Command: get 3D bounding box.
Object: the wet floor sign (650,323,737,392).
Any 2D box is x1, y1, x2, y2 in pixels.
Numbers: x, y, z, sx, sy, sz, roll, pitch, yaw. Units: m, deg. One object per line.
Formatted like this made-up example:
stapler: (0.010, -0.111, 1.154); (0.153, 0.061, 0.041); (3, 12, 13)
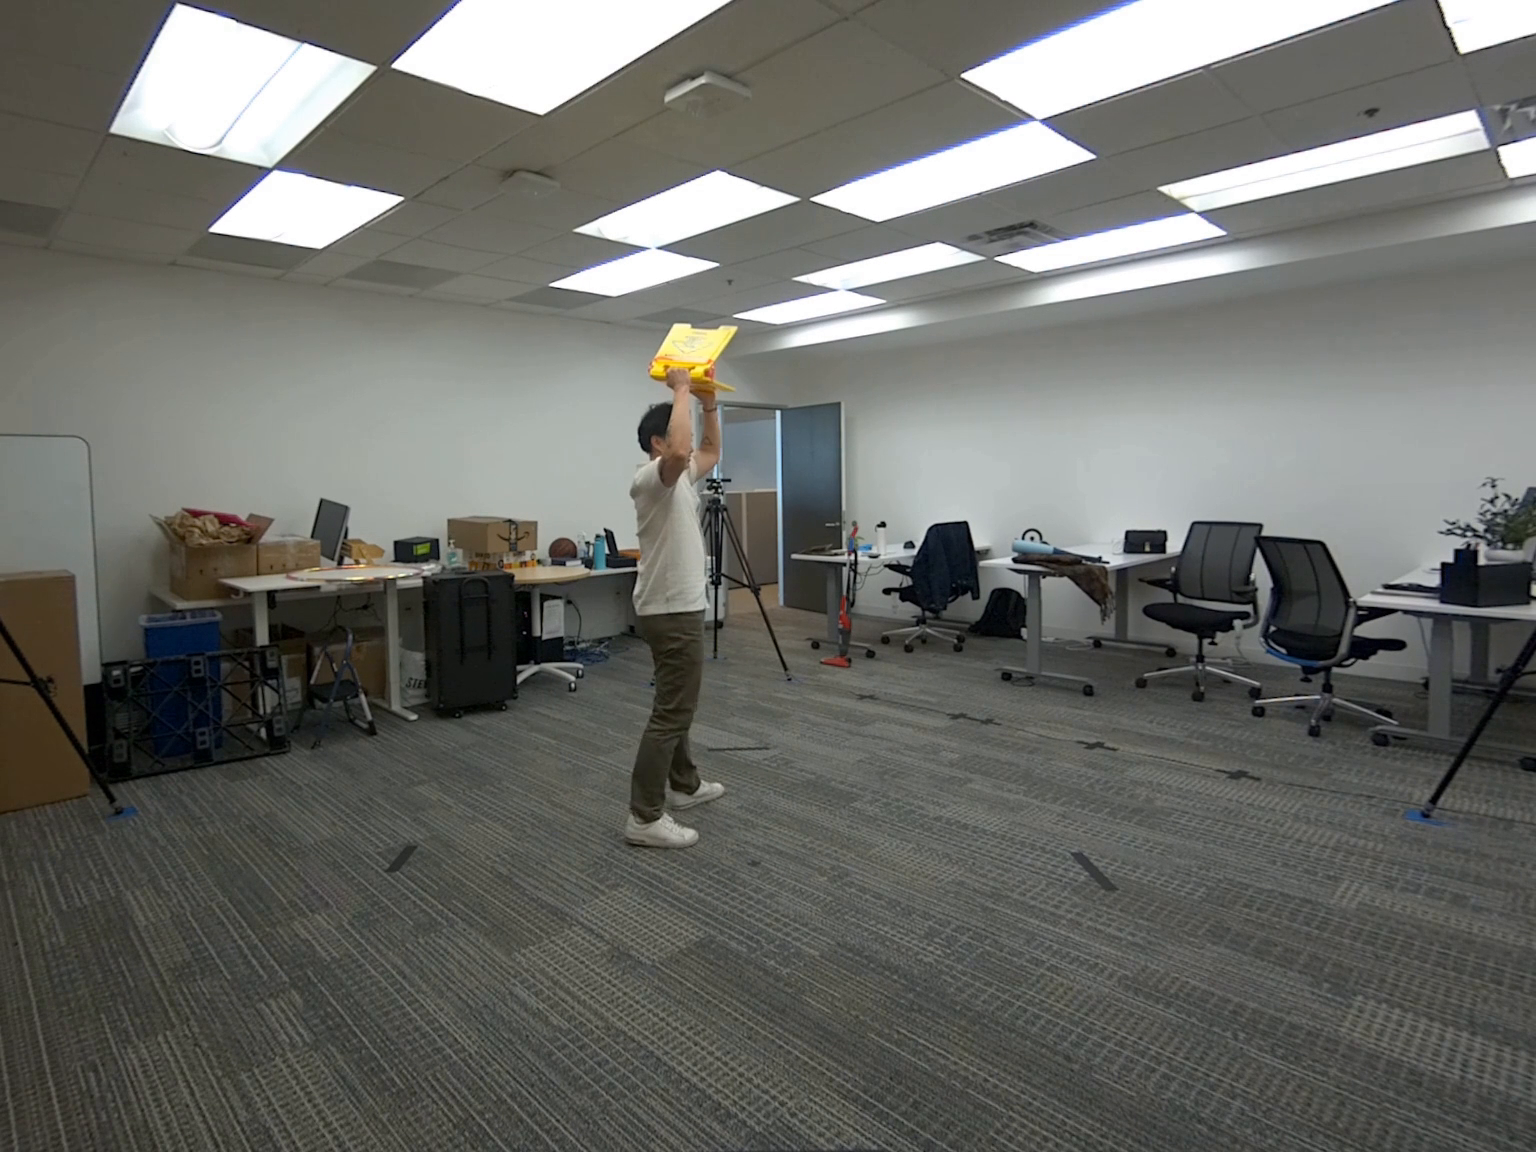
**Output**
wet floor sign: (-0.321, -0.840, 3.426); (0.284, 0.285, 0.652); (4, 20, 5)
